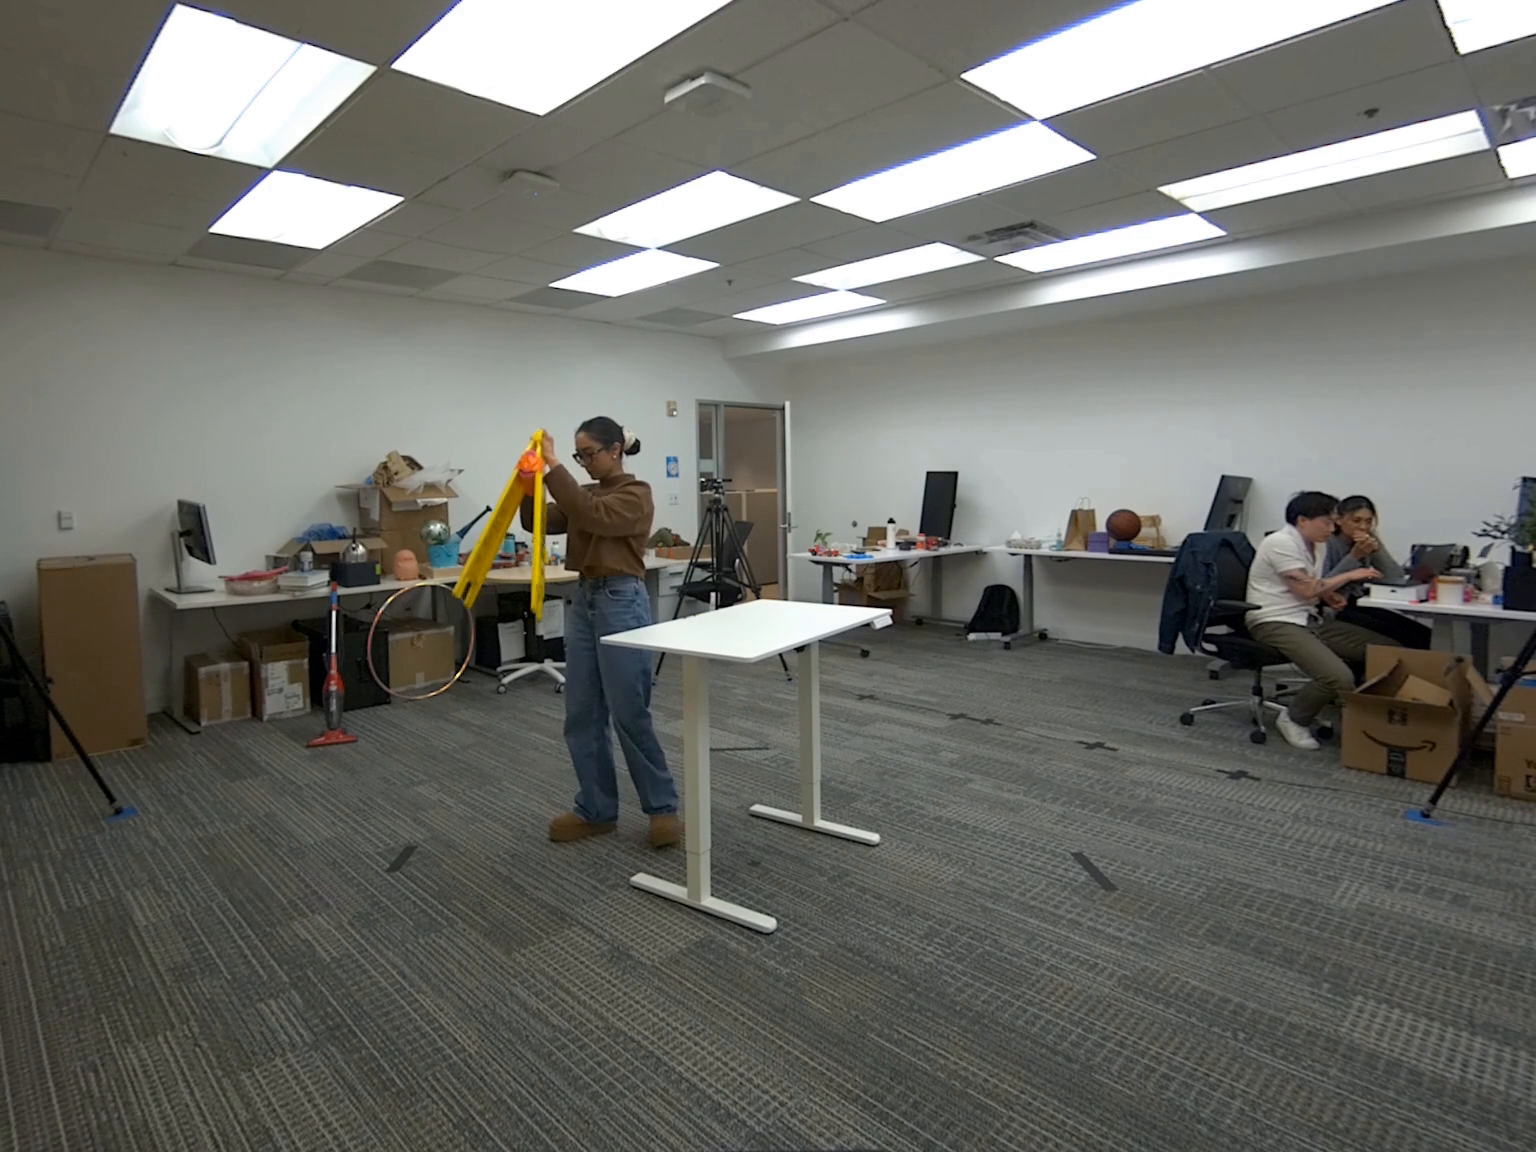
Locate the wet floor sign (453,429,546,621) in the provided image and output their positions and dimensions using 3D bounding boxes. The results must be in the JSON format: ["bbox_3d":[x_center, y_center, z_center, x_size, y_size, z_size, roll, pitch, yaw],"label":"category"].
[{"bbox_3d":[-0.868,-0.183,3.042,0.288,0.653,0.281,10,-14,-5],"label":"wet floor sign"}]
